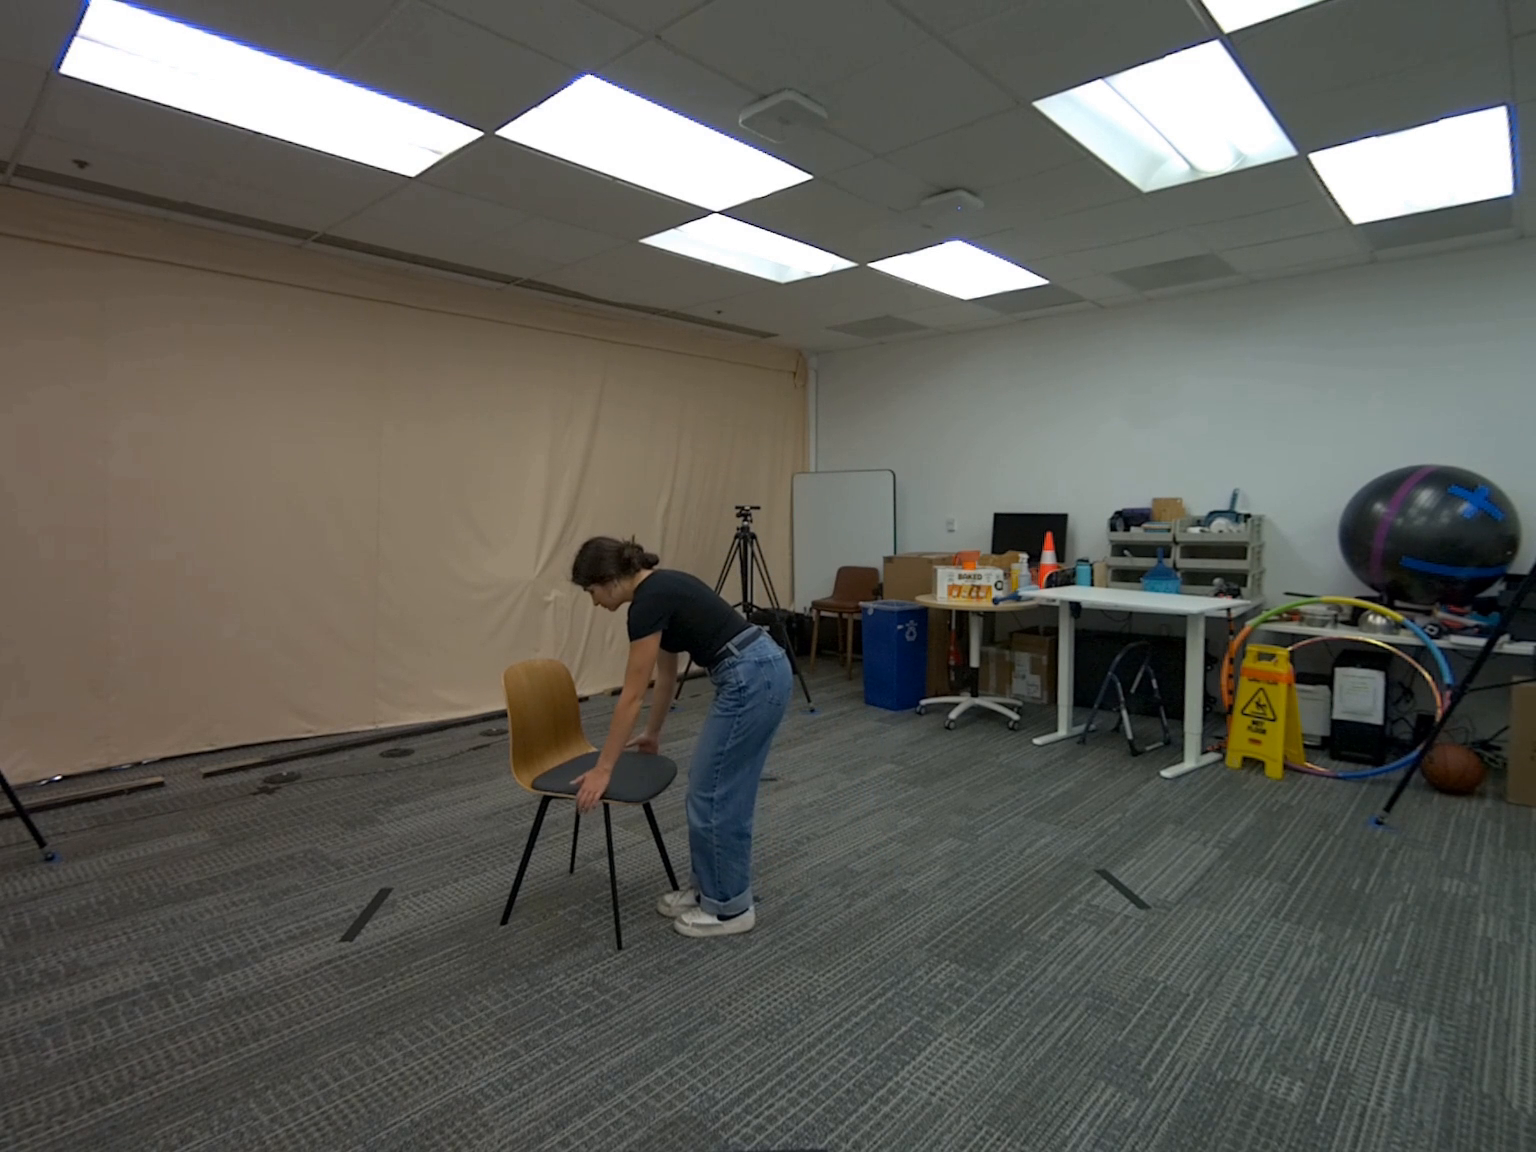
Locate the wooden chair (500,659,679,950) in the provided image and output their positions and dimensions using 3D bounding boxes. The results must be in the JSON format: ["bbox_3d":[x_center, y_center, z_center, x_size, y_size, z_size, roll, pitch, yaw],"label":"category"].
[{"bbox_3d":[-0.604,0.730,2.906,0.534,0.876,0.469,-4,2,21],"label":"wooden chair"}]
